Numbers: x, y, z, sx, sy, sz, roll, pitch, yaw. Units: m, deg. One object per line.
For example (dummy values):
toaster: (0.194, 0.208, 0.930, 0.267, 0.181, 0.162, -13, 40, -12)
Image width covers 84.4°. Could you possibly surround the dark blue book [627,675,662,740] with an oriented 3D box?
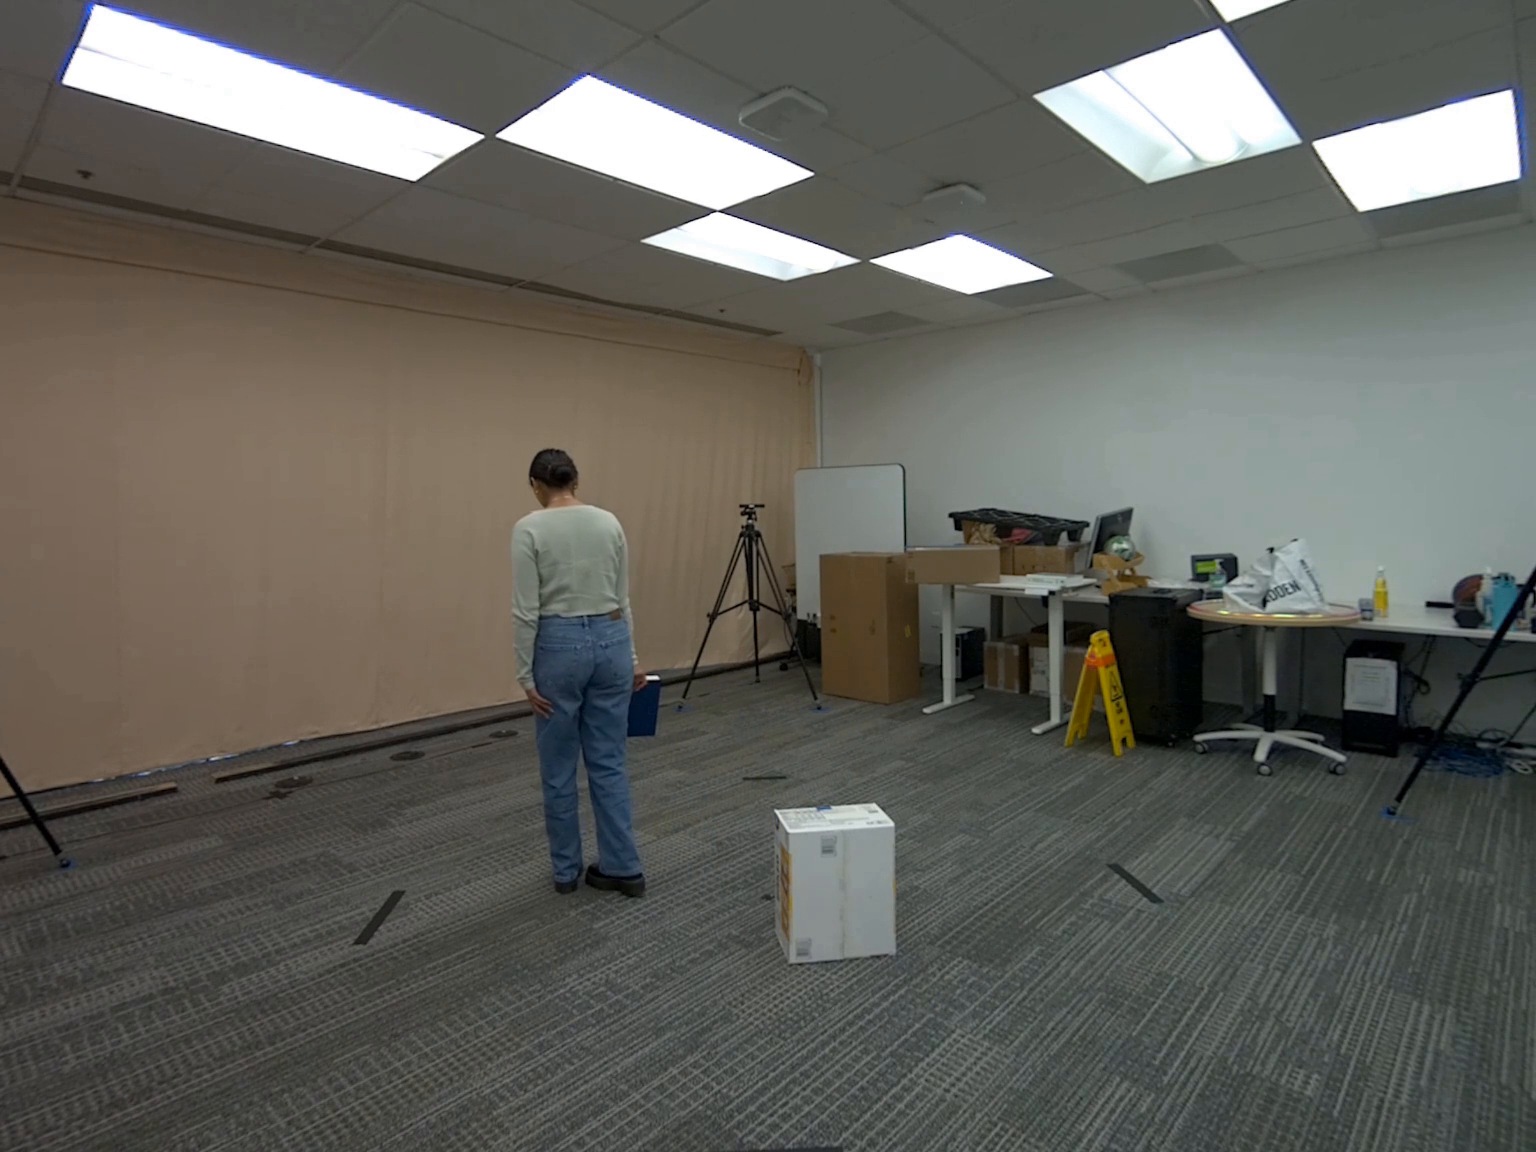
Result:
dark blue book: (-0.516, 0.514, 3.313, 0.160, 0.243, 0.046, 2, 15, -22)
